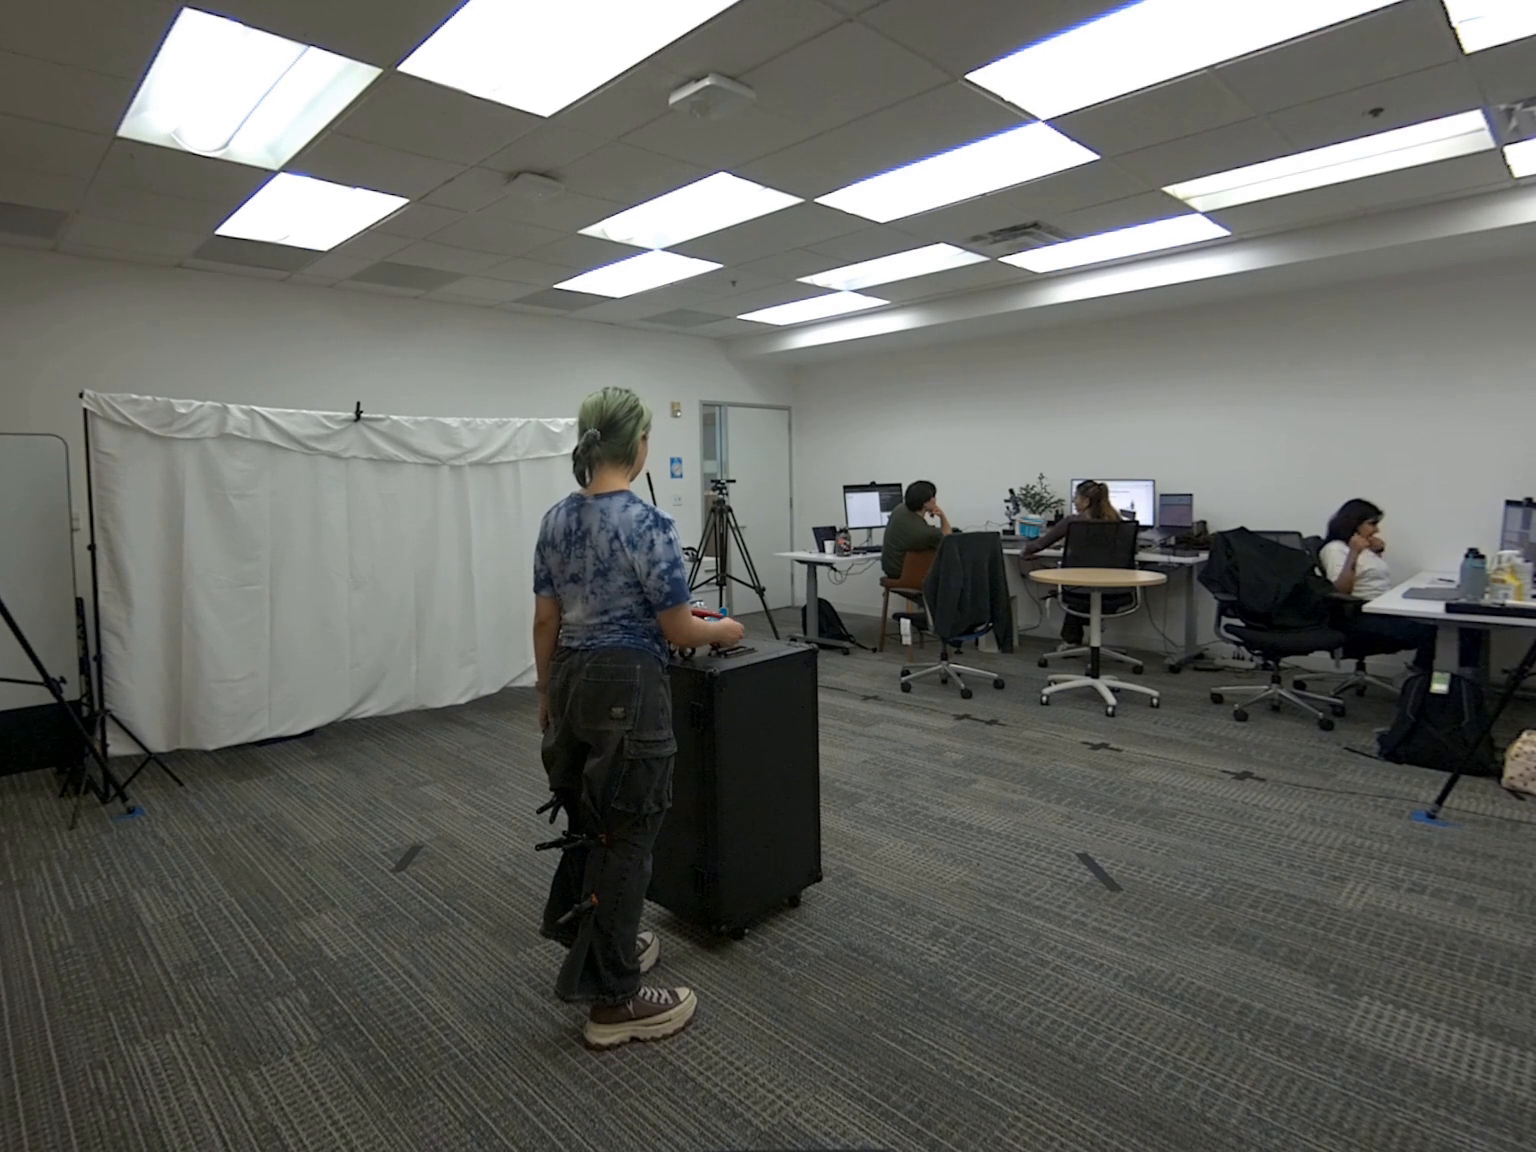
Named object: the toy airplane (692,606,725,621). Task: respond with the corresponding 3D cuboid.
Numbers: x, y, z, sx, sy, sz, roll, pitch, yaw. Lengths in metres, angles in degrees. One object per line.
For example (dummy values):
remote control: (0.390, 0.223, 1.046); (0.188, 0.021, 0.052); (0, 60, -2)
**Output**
toy airplane: (-0.240, 0.167, 2.733); (0.255, 0.156, 0.257); (0, 6, 15)
